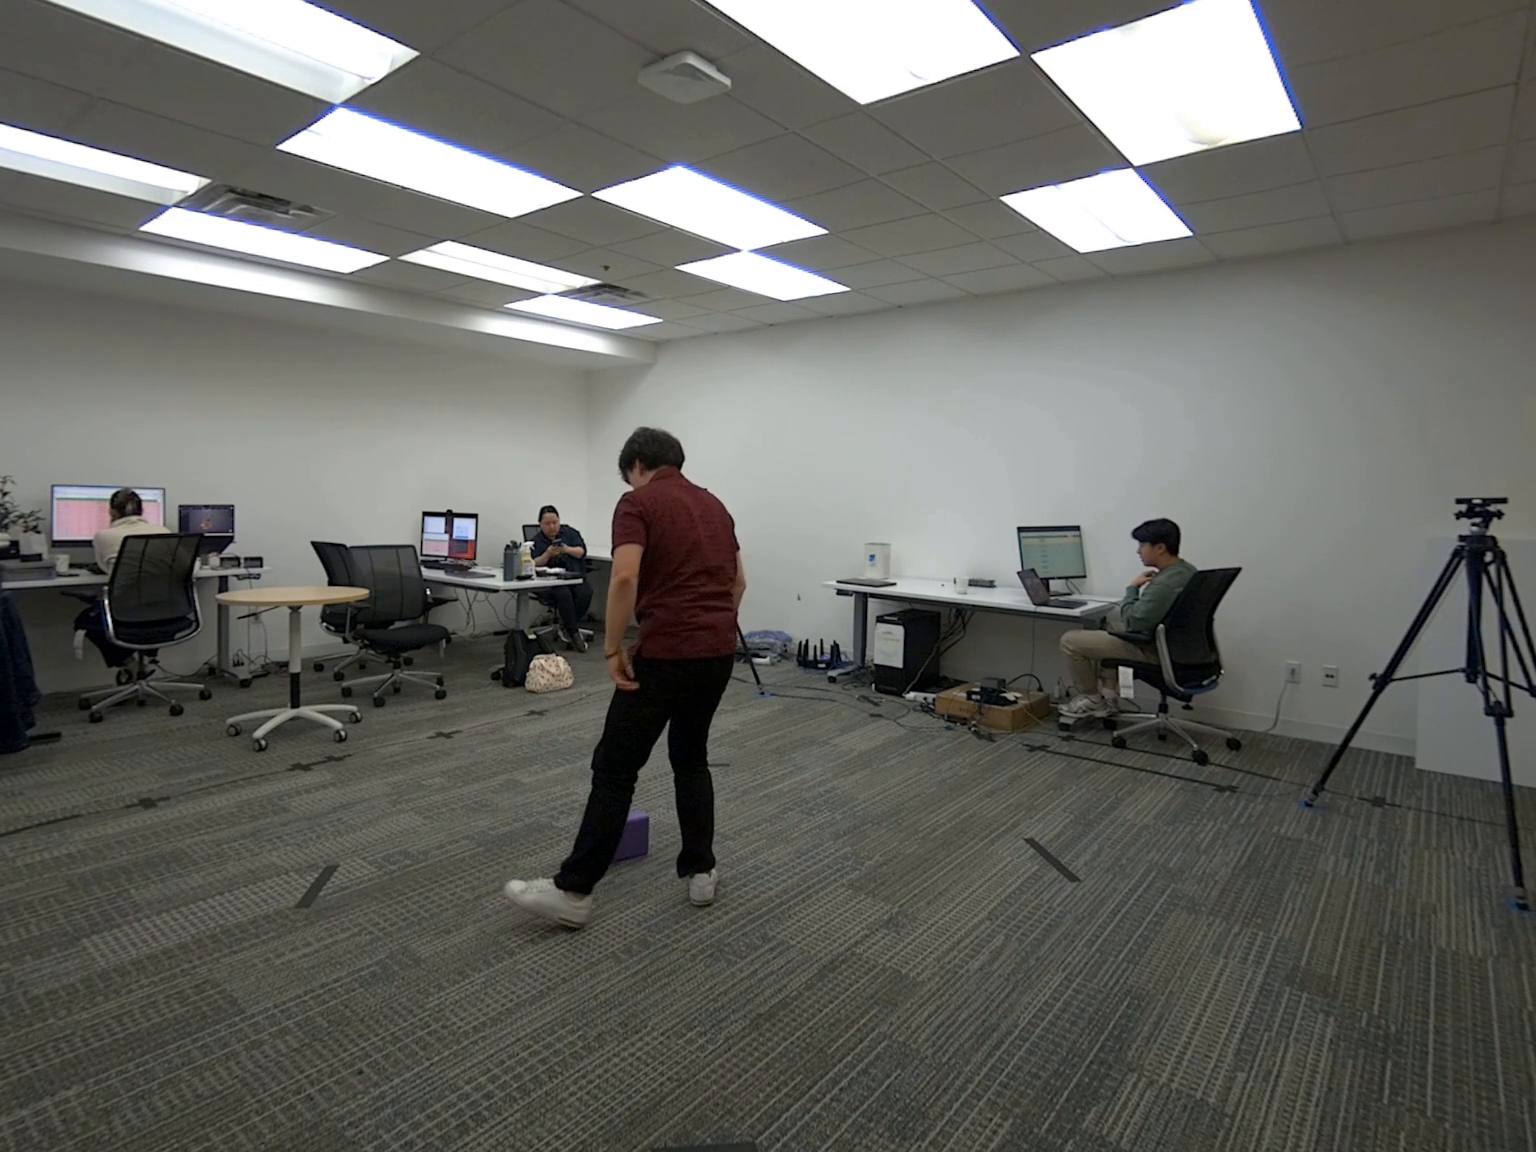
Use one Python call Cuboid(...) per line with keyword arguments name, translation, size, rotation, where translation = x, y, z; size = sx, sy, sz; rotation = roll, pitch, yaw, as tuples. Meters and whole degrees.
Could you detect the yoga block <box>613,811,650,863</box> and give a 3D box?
Cuboid(name="yoga block", translation=(-0.571, 0.980, 3.196), size=(0.223, 0.149, 0.079), rotation=(-2, 3, -33))
